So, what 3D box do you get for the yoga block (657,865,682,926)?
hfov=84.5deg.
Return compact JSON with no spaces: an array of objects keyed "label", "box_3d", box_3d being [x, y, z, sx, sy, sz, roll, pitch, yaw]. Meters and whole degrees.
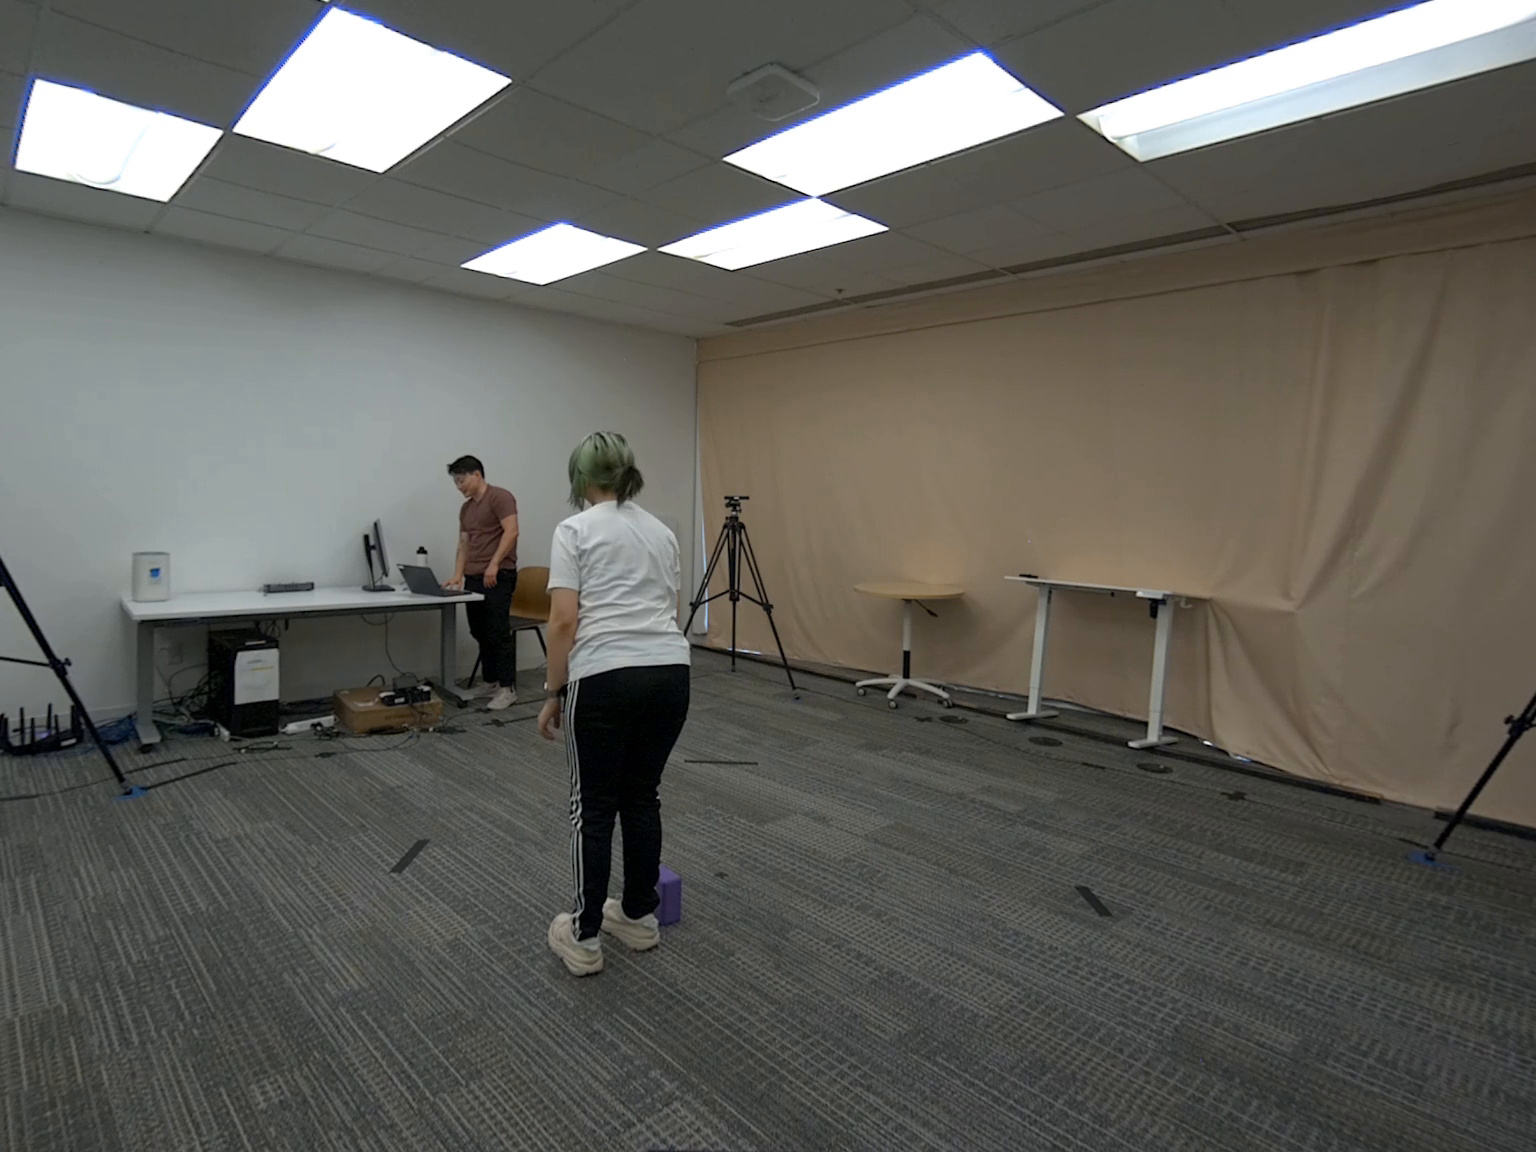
[{"label":"yoga block","box_3d":[-0.388,1.048,2.818,0.075,0.148,0.235,-1,5,-37]}]
